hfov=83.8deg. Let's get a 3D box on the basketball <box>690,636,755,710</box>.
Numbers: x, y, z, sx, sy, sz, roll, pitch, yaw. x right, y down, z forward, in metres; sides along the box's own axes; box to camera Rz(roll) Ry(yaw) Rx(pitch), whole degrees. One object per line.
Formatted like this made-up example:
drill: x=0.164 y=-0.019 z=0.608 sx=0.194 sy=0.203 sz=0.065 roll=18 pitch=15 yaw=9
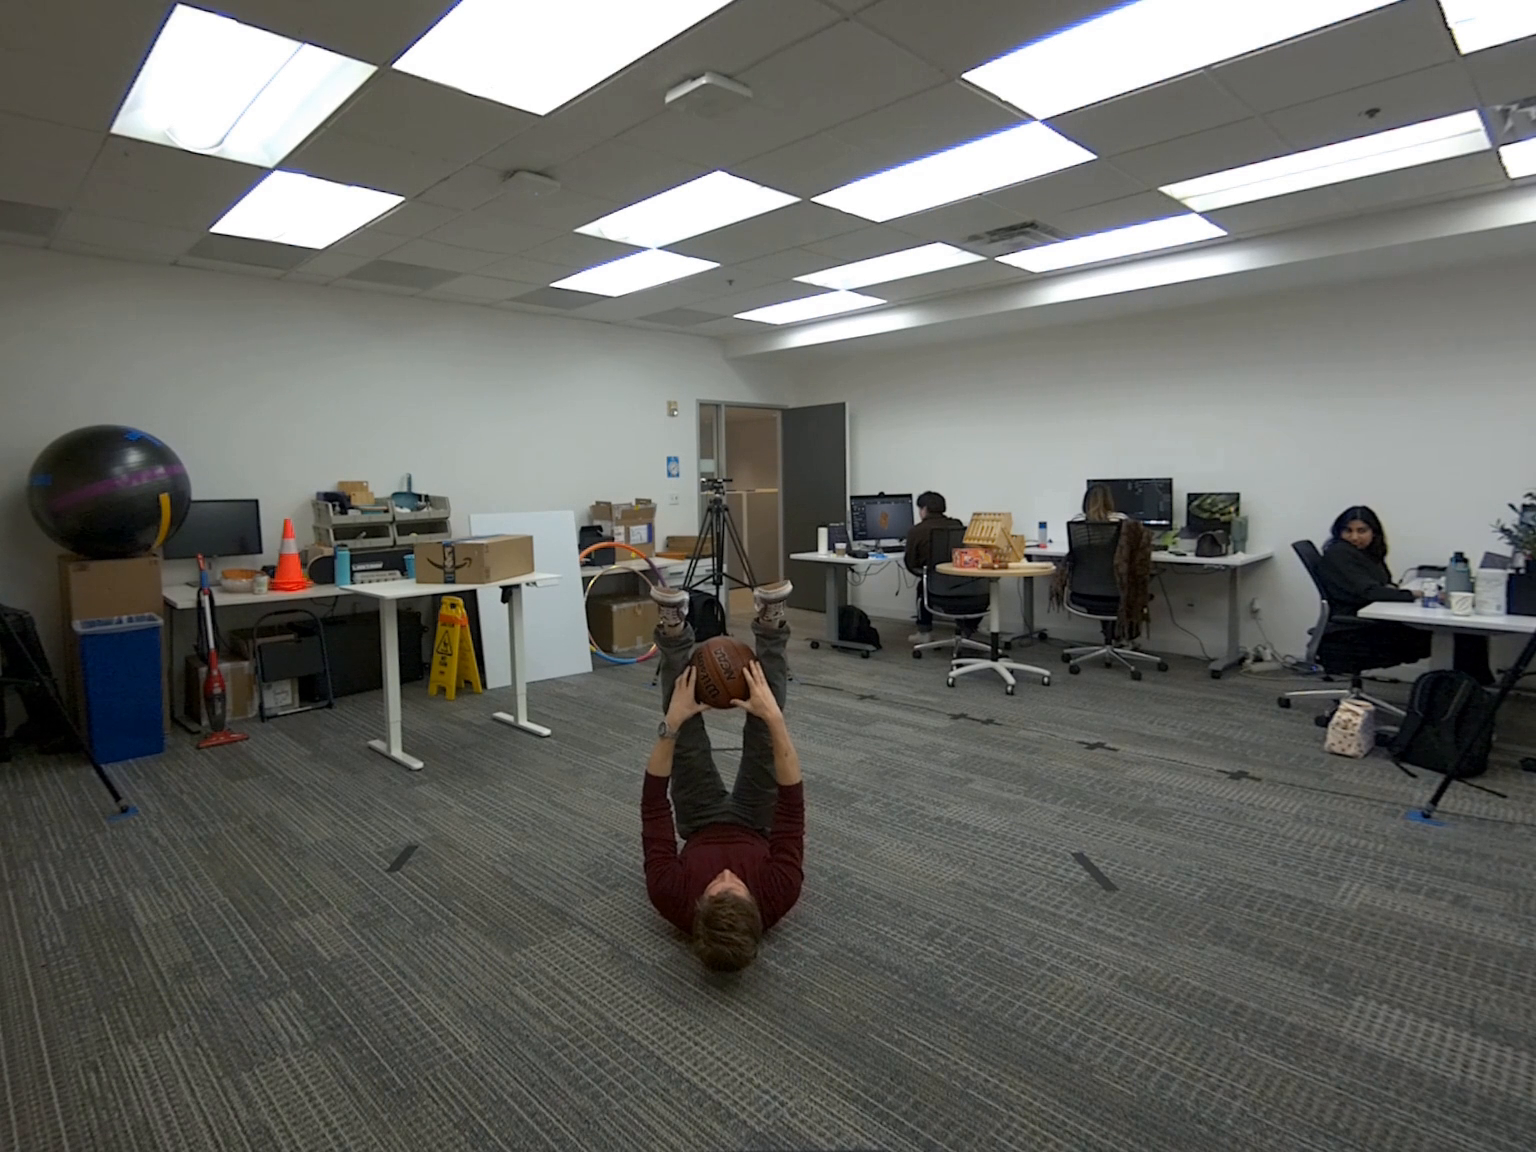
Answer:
basketball: x=-0.141 y=0.313 z=2.824 sx=0.236 sy=0.235 sz=0.237 roll=-1 pitch=5 yaw=-2
